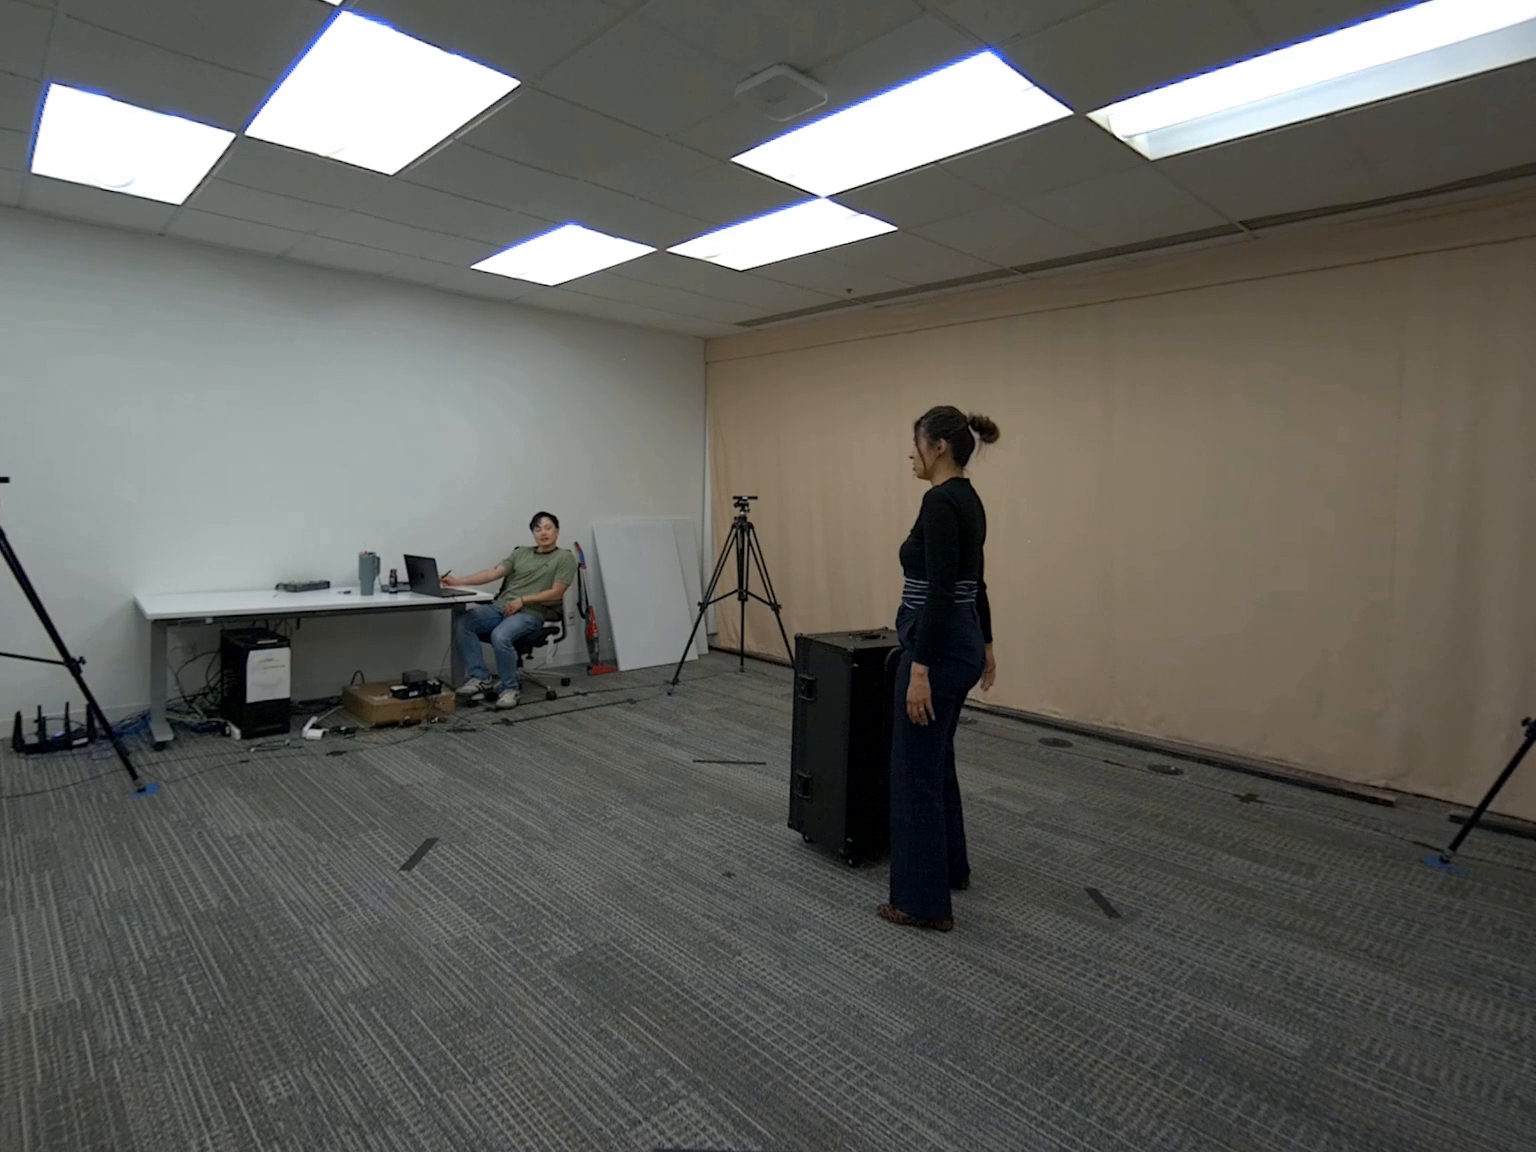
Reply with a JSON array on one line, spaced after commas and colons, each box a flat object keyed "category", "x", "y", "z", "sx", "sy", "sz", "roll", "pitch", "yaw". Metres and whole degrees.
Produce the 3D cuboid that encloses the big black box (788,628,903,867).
[{"category": "big black box", "x": 0.394, "y": 0.667, "z": 3.345, "sx": 0.510, "sy": 0.859, "sz": 0.406, "roll": 0, "pitch": 5, "yaw": -32}]
